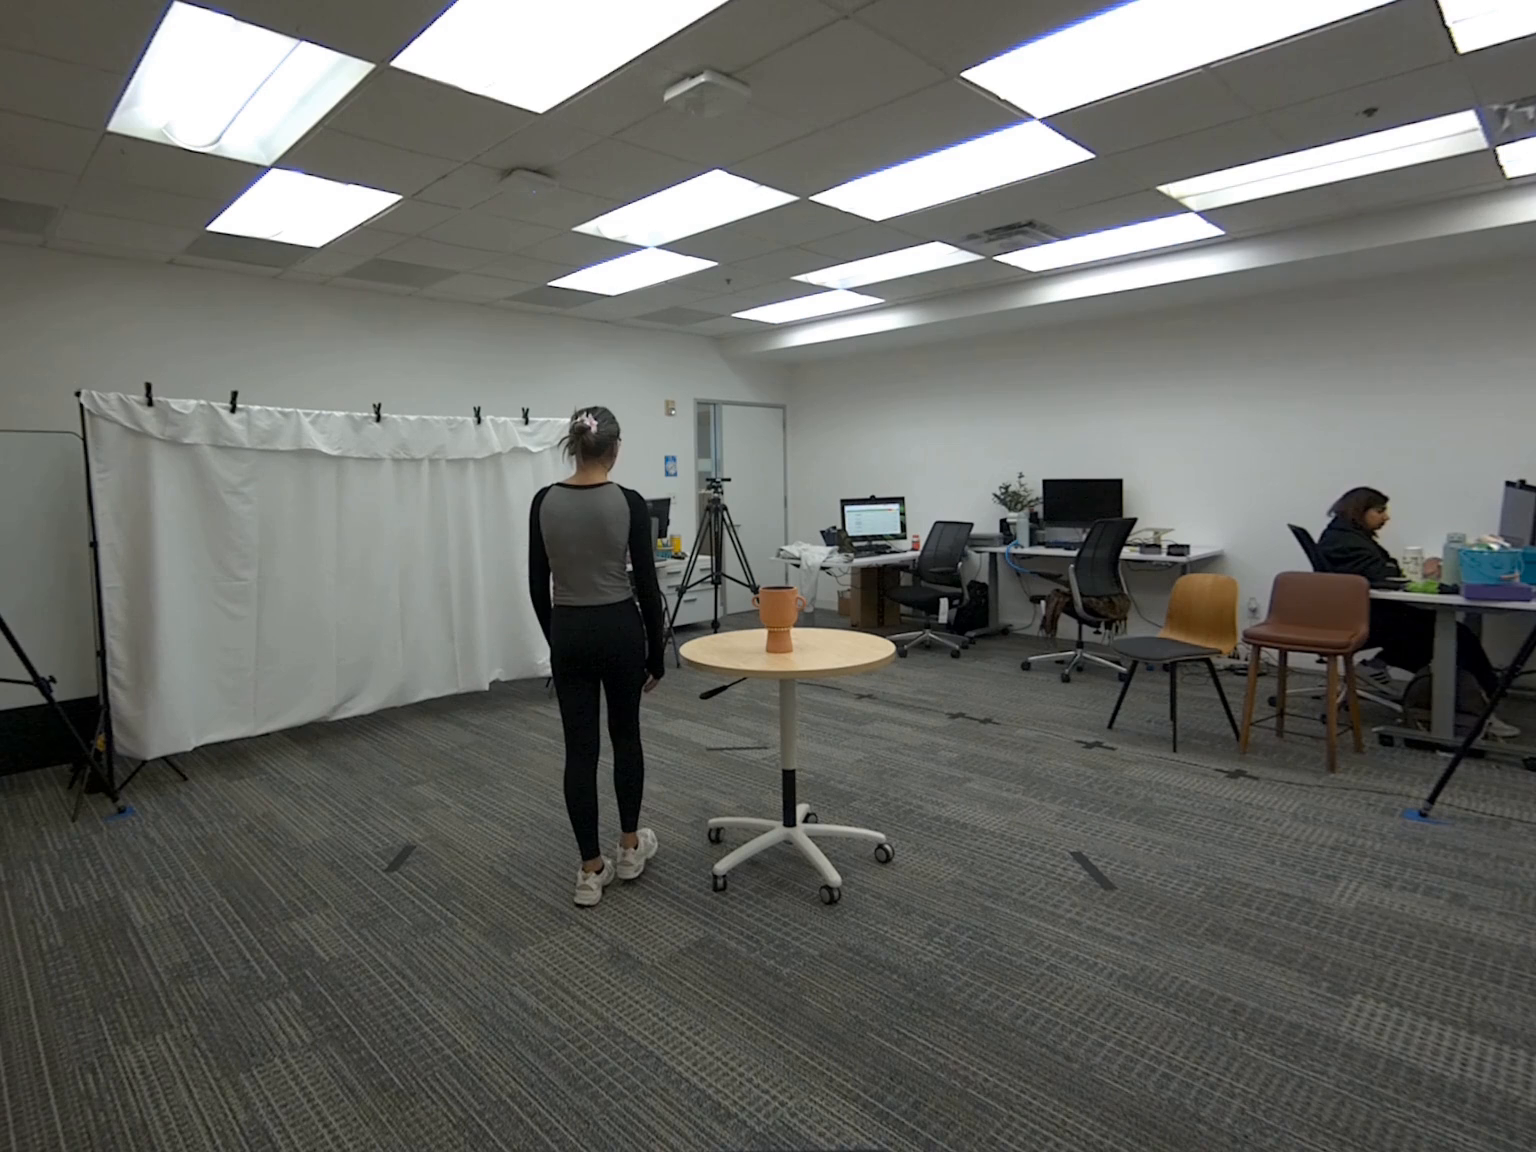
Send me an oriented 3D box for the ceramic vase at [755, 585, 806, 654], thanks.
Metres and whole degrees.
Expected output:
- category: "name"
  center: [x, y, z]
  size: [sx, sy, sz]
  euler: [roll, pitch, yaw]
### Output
- category: "ceramic vase"
  center: [0.041, 0.152, 2.980]
  size: [0.131, 0.219, 0.163]
  euler: [-4, 6, -30]
